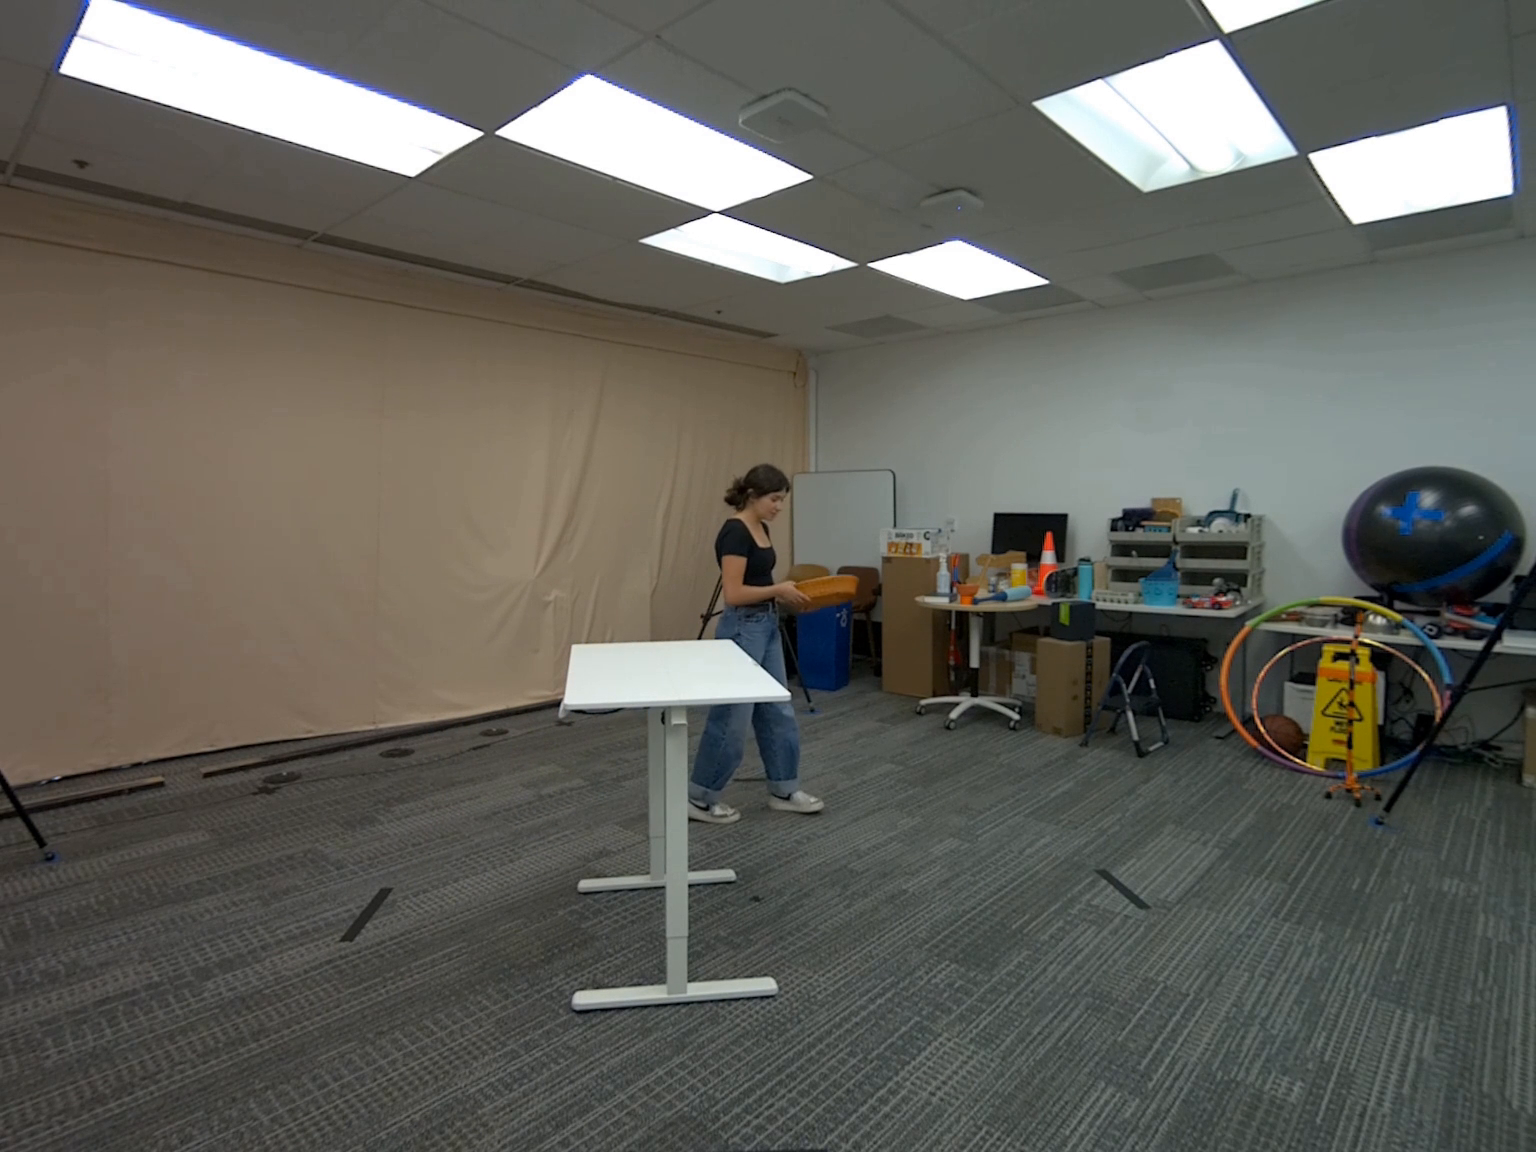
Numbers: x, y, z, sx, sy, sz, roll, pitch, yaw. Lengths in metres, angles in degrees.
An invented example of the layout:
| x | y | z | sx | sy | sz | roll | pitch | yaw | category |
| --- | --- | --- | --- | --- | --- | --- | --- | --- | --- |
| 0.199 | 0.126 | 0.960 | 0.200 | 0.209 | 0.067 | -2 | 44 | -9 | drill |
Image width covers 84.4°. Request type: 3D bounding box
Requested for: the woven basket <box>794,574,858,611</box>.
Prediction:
| x | y | z | sx | sy | sz | roll | pitch | yaw | category |
| --- | --- | --- | --- | --- | --- | --- | --- | --- | --- |
| 0.229 | 0.079 | 3.773 | 0.351 | 0.074 | 0.249 | -7 | -17 | 1 | woven basket |
